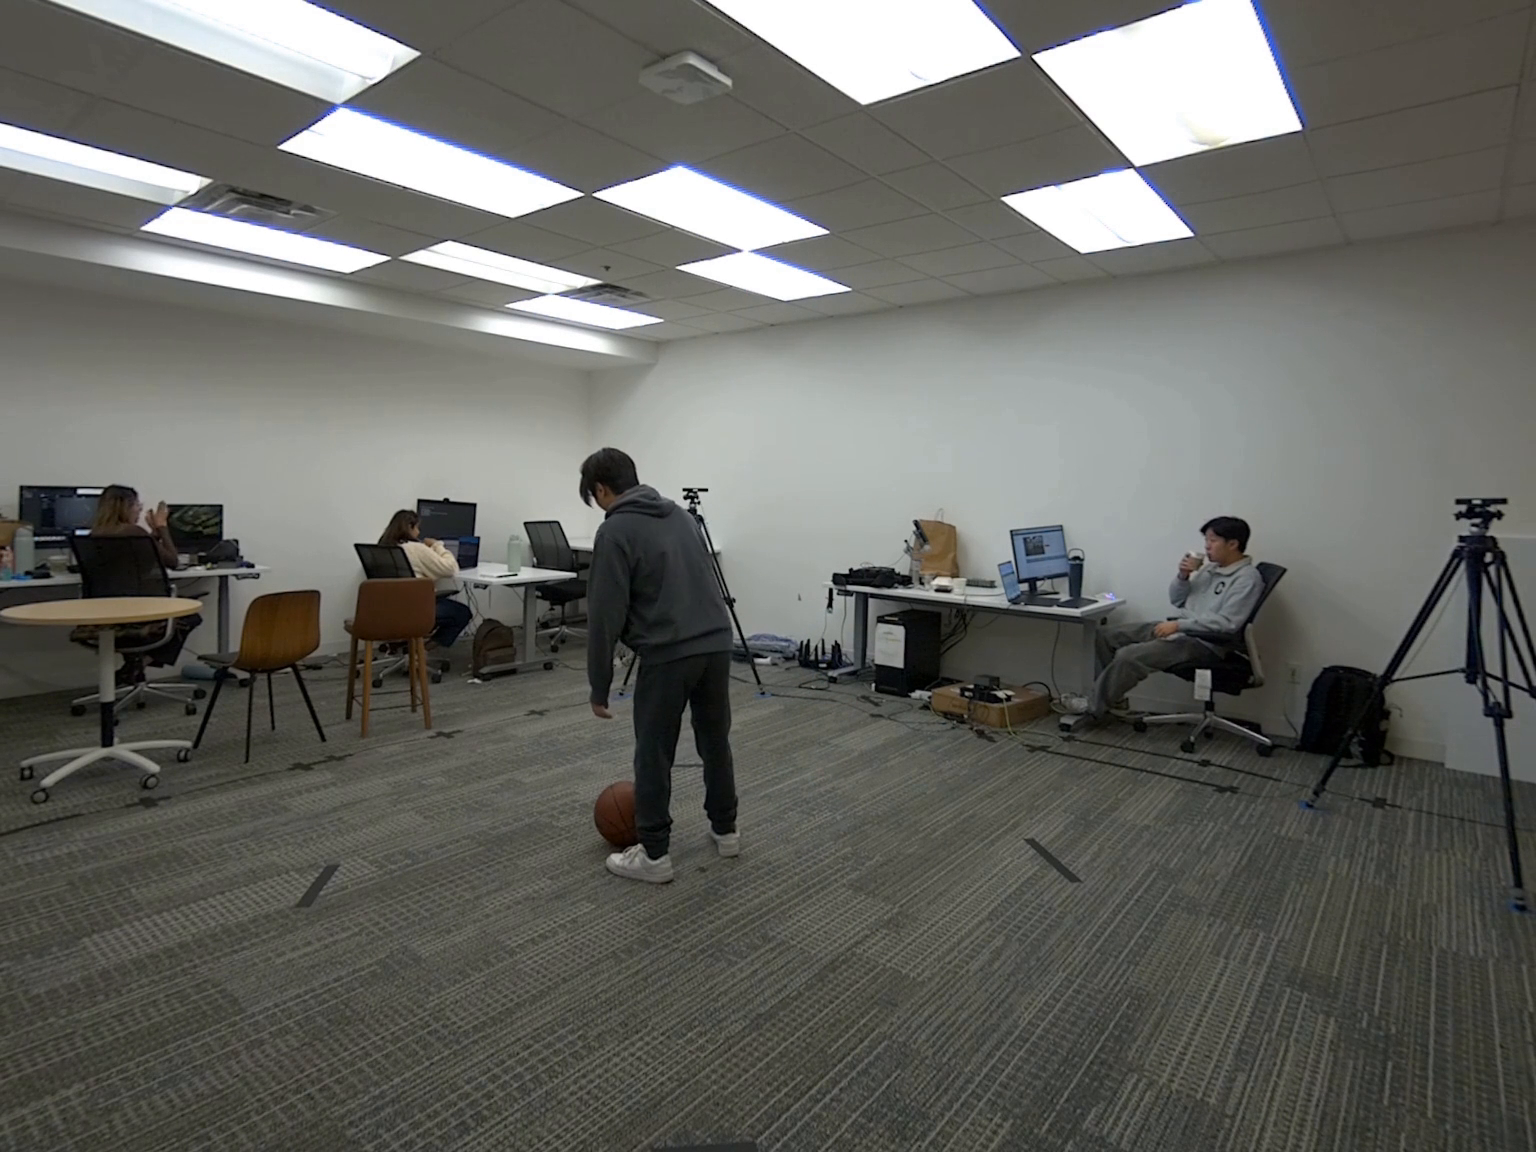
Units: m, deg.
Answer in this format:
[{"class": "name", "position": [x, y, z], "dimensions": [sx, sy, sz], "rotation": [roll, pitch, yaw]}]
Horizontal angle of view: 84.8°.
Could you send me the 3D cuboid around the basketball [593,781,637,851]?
[{"class": "basketball", "position": [-0.572, 0.920, 3.321], "dimensions": [0.235, 0.235, 0.237], "rotation": [1, 4, -2]}]
